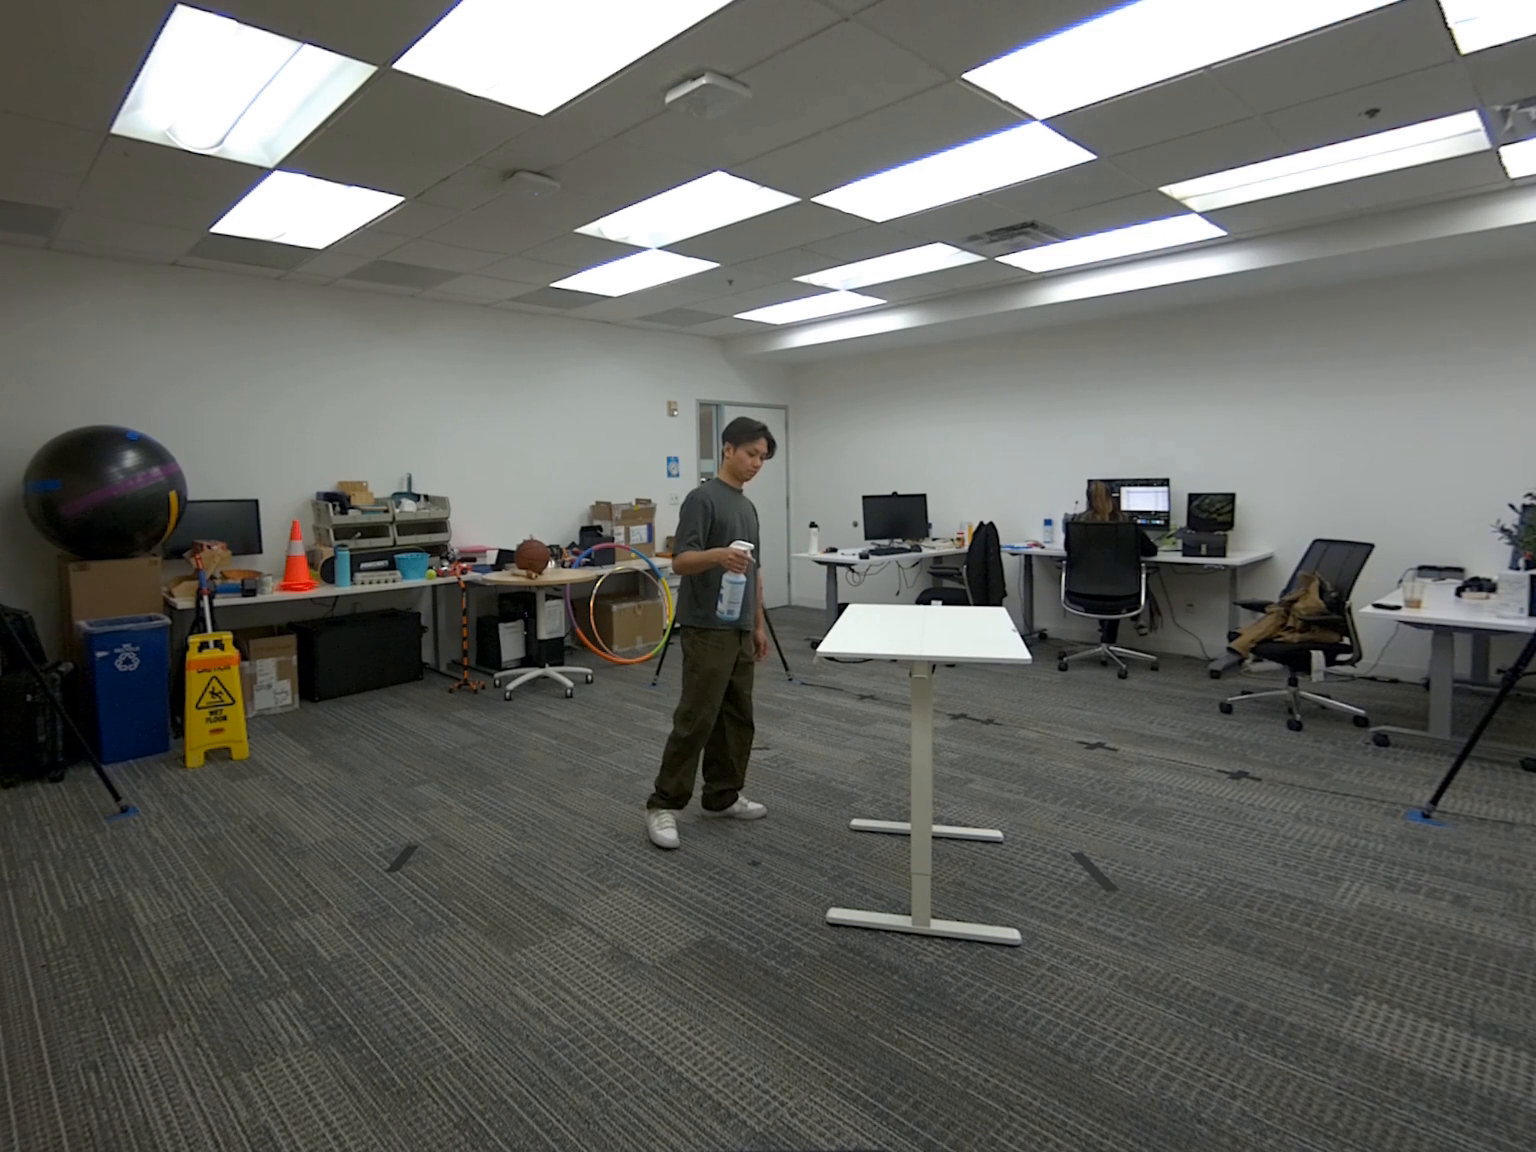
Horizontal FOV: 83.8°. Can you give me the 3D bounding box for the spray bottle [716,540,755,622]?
[{"bbox_3d":[-0.125,0.018,3.141,0.084,0.294,0.093,-1,20,-38],"label":"spray bottle"}]
